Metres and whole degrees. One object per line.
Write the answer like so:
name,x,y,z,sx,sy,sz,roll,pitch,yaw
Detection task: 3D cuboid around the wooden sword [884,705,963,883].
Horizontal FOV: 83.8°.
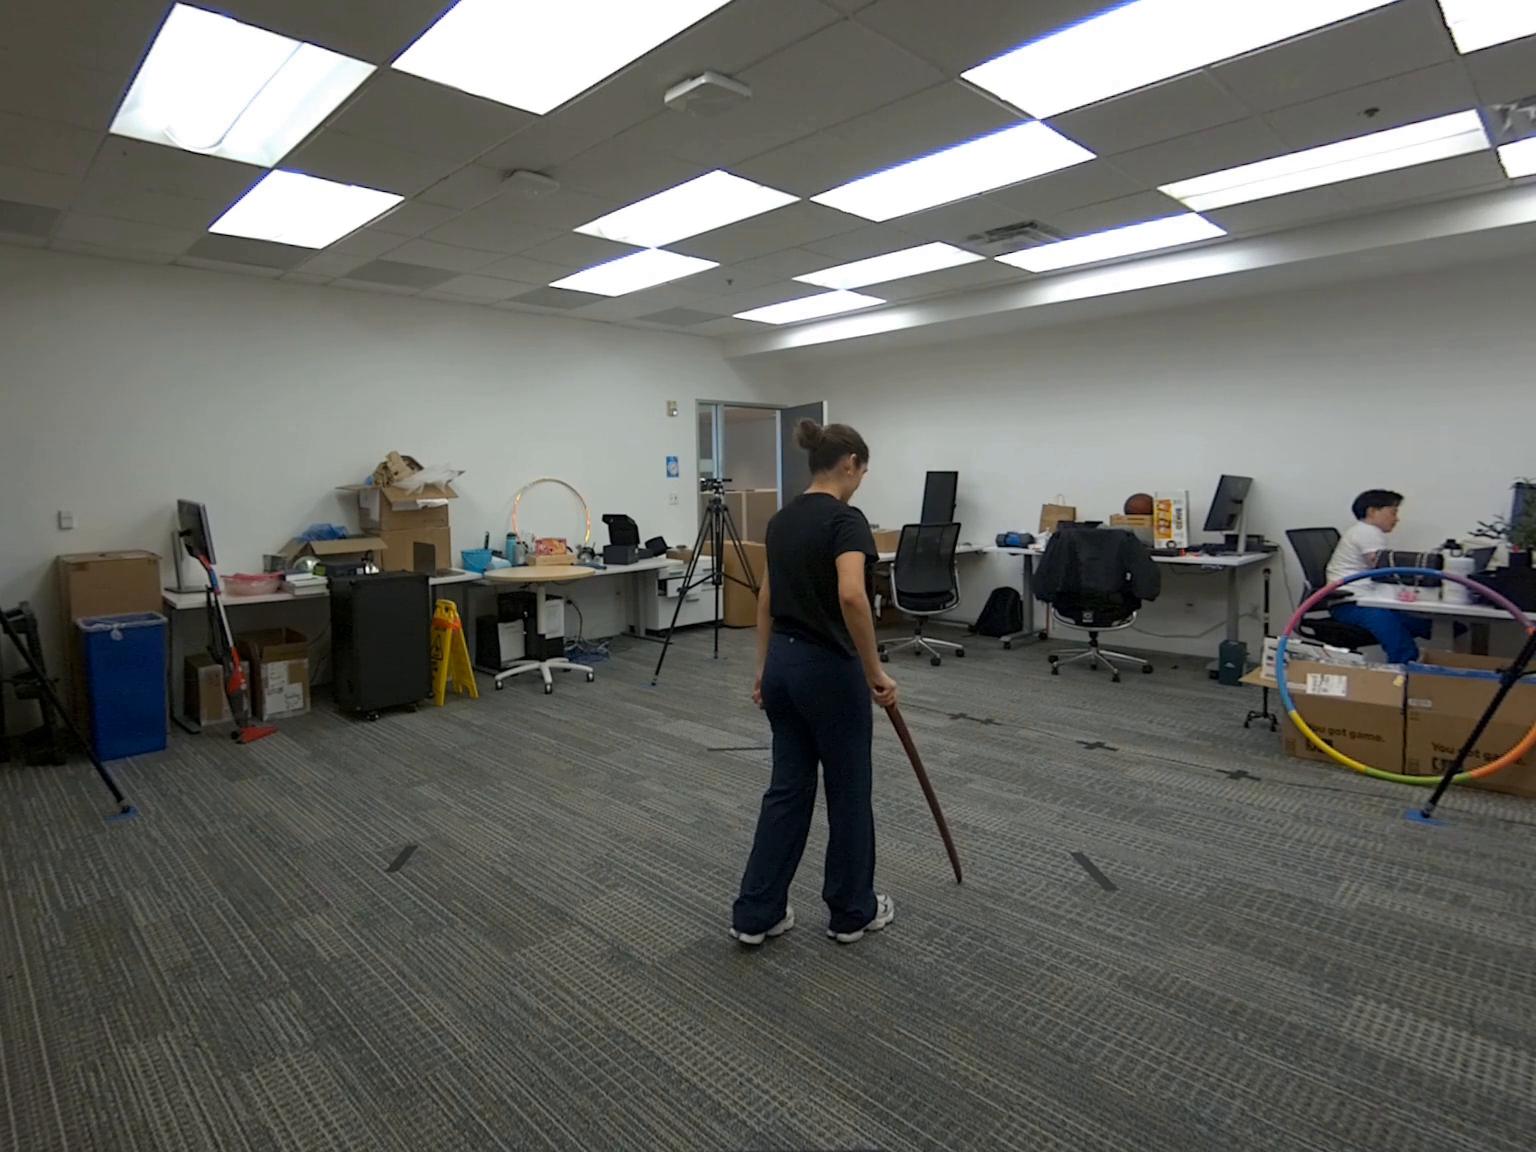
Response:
wooden sword,0.500,0.658,2.676,0.024,0.990,0.052,-2,40,28
